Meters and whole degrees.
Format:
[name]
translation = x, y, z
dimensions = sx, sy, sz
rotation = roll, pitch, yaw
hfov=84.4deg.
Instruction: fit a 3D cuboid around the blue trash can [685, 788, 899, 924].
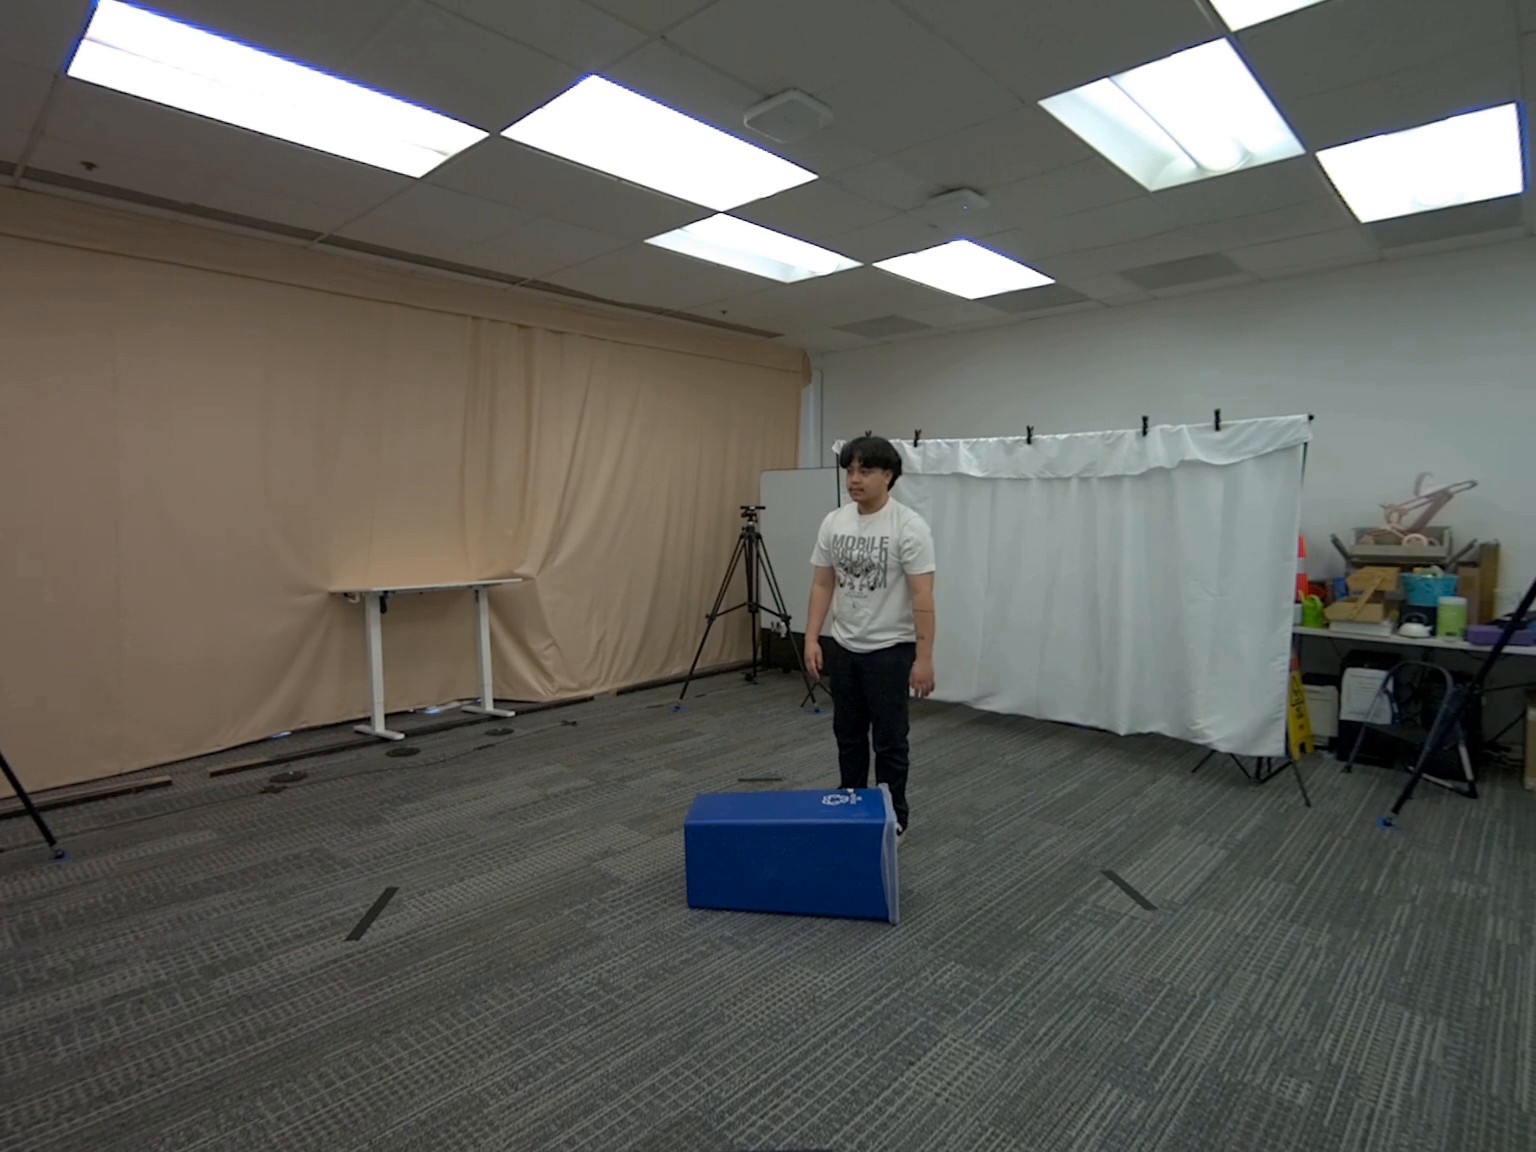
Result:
[blue trash can]
translation = 0.083, 0.976, 2.991
dimensions = 0.719, 0.377, 0.372
rotation = -3, 4, 6
